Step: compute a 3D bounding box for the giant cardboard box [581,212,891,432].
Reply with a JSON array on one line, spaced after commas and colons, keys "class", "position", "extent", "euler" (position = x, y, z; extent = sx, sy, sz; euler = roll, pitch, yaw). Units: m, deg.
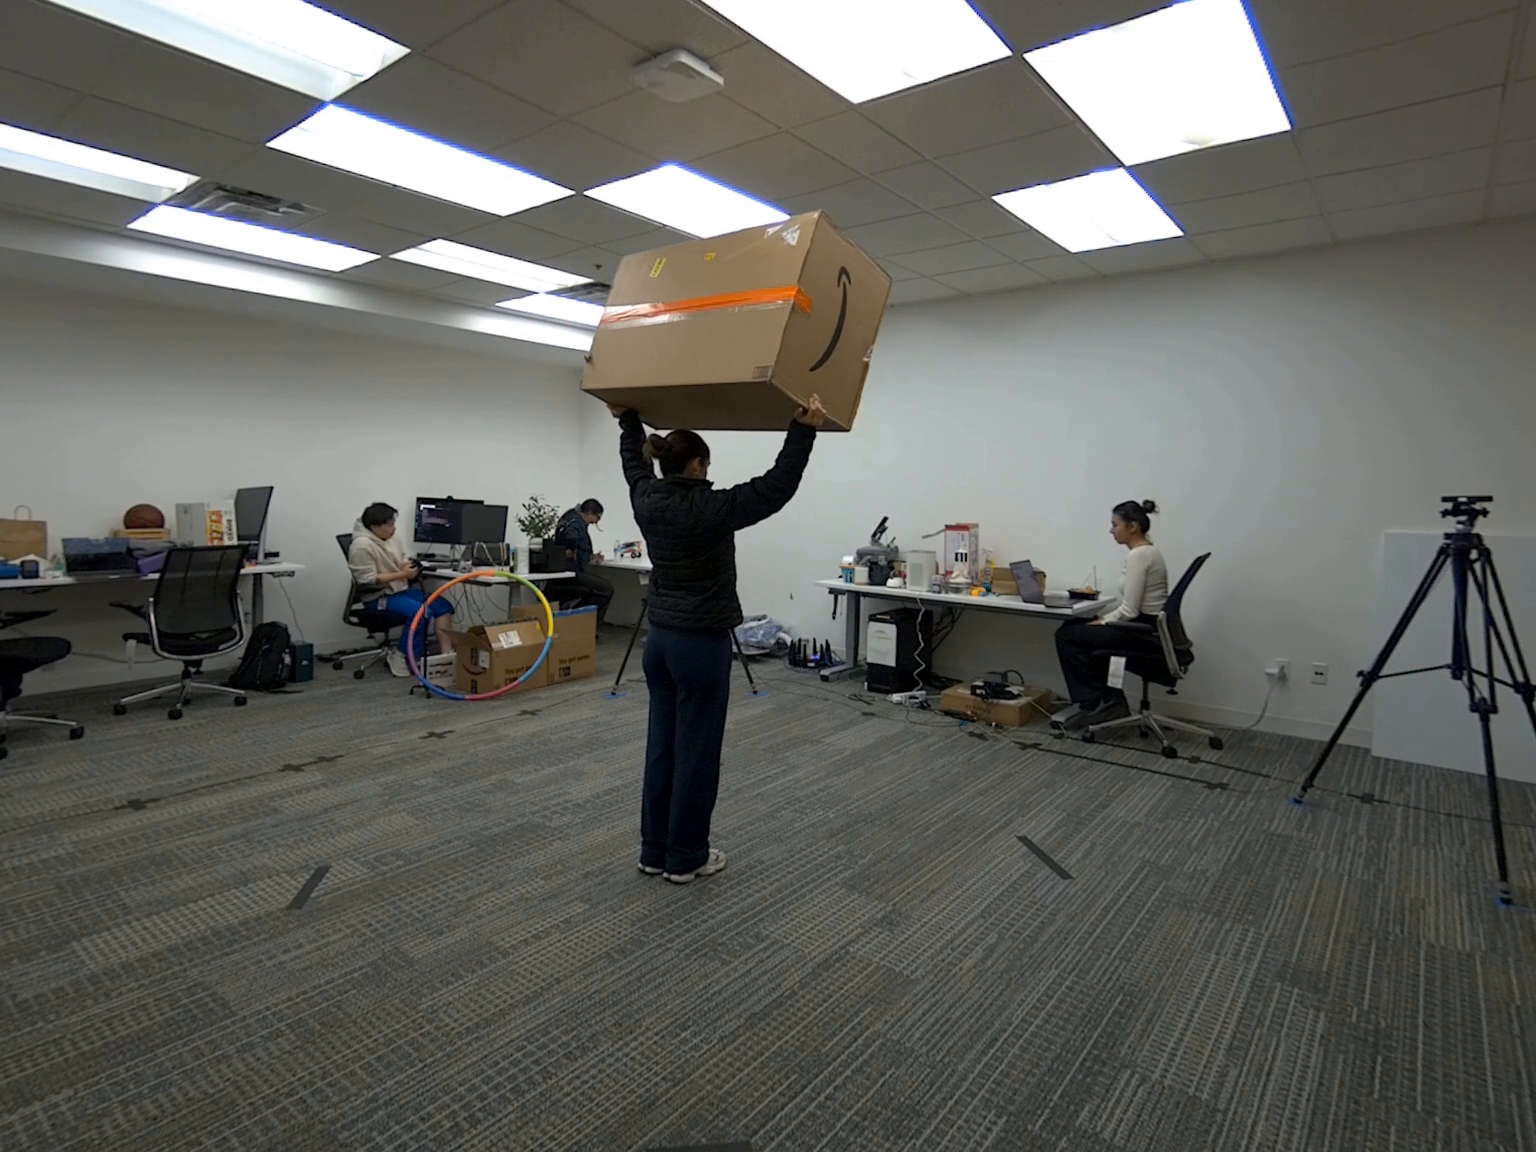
[{"class": "giant cardboard box", "position": [-0.139, -0.868, 3.107], "extent": [1.064, 0.586, 0.429], "euler": [9, -9, 44]}]
